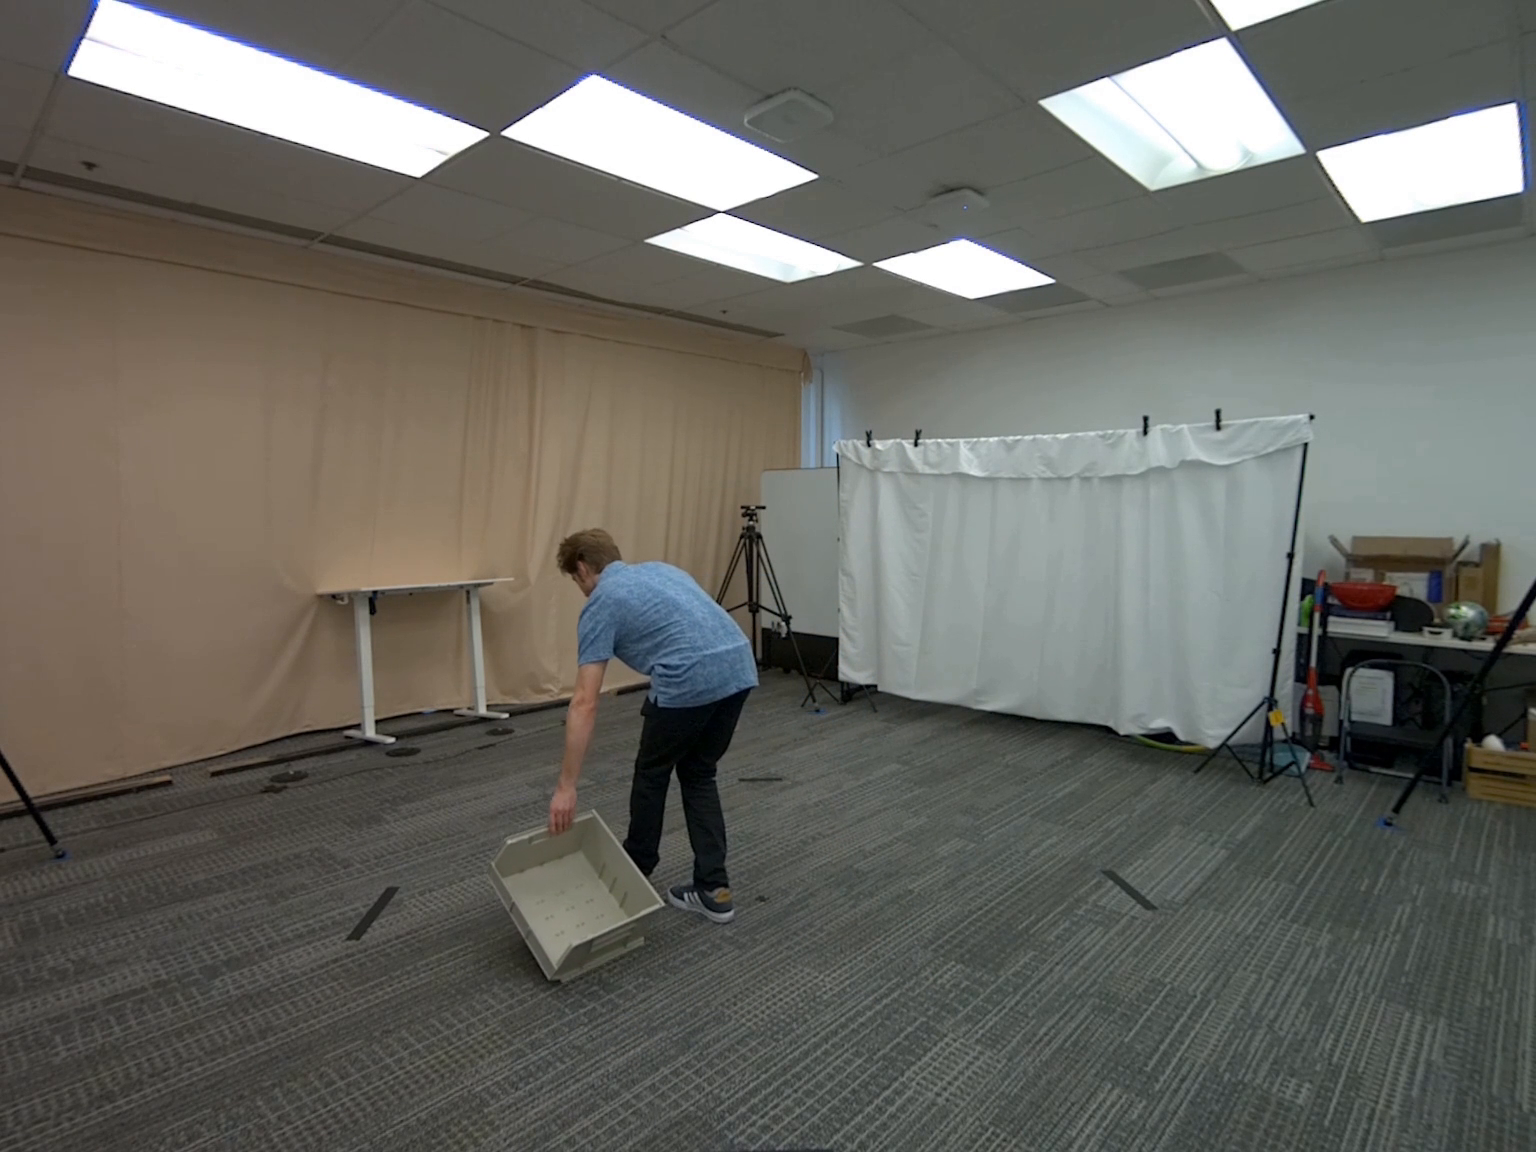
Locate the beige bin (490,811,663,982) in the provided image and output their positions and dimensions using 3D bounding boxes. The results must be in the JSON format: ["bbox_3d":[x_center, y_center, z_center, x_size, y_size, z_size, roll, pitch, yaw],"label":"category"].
[{"bbox_3d":[-0.608,0.993,2.641,0.366,0.188,0.437,-4,34,-46],"label":"beige bin"}]
